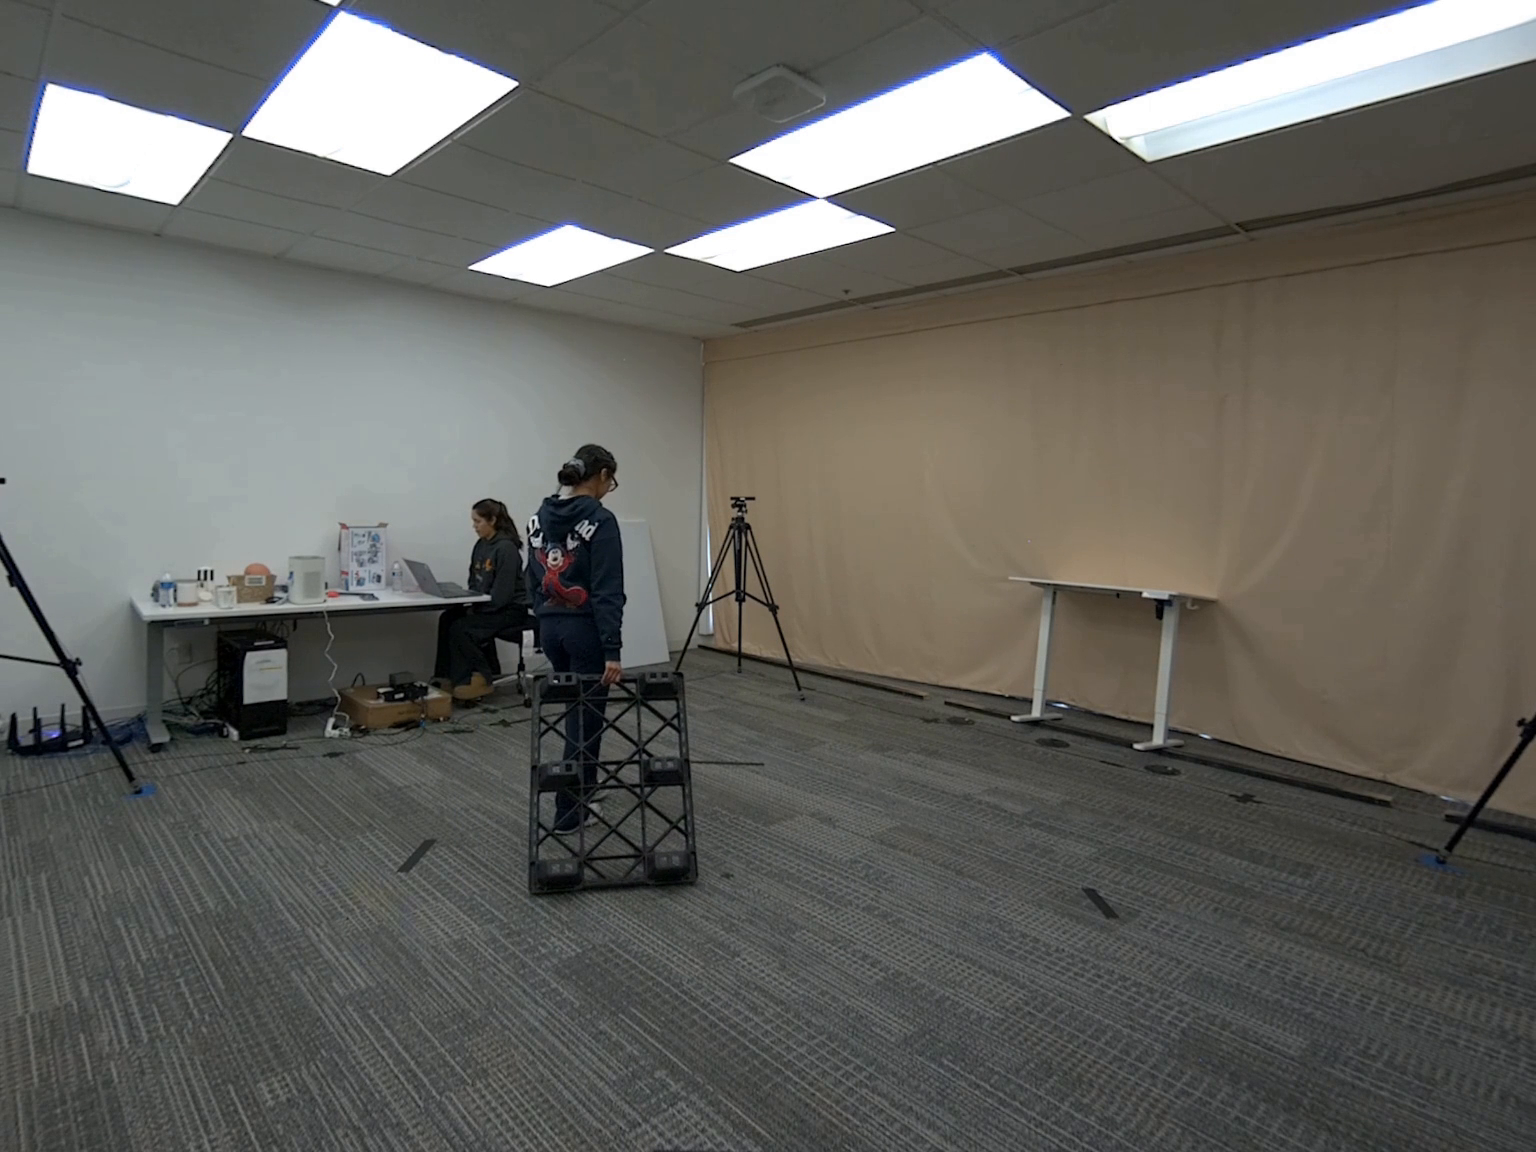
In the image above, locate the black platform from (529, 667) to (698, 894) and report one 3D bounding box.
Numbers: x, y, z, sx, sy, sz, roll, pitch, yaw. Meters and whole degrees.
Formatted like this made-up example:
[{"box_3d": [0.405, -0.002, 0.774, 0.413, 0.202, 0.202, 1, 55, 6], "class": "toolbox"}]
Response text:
[{"box_3d": [-0.574, 0.733, 3.124, 0.599, 0.823, 0.141, 0, -30, -12], "class": "black platform"}]
